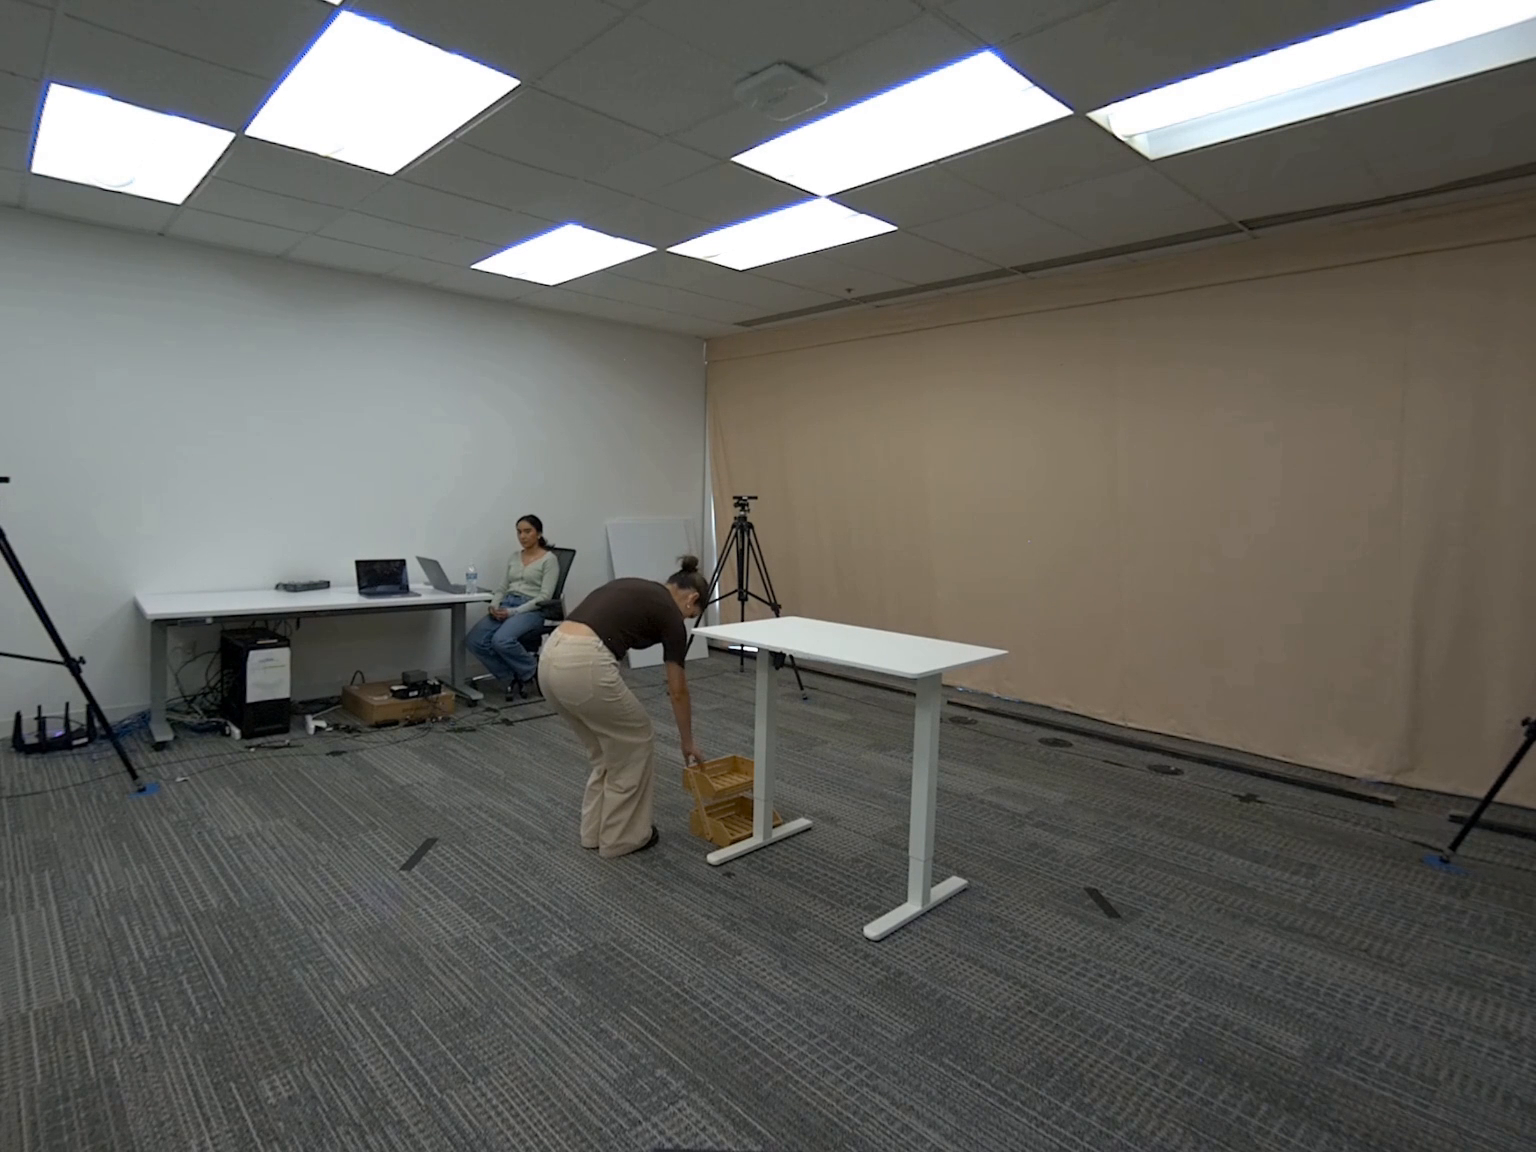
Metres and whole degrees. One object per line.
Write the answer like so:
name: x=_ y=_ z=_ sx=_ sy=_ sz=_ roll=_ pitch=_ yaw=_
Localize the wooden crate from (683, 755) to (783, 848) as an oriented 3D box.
wooden crate: x=-0.154 y=0.934 z=3.523 sx=0.310 sy=0.273 sz=0.317 roll=4 pitch=5 yaw=45
